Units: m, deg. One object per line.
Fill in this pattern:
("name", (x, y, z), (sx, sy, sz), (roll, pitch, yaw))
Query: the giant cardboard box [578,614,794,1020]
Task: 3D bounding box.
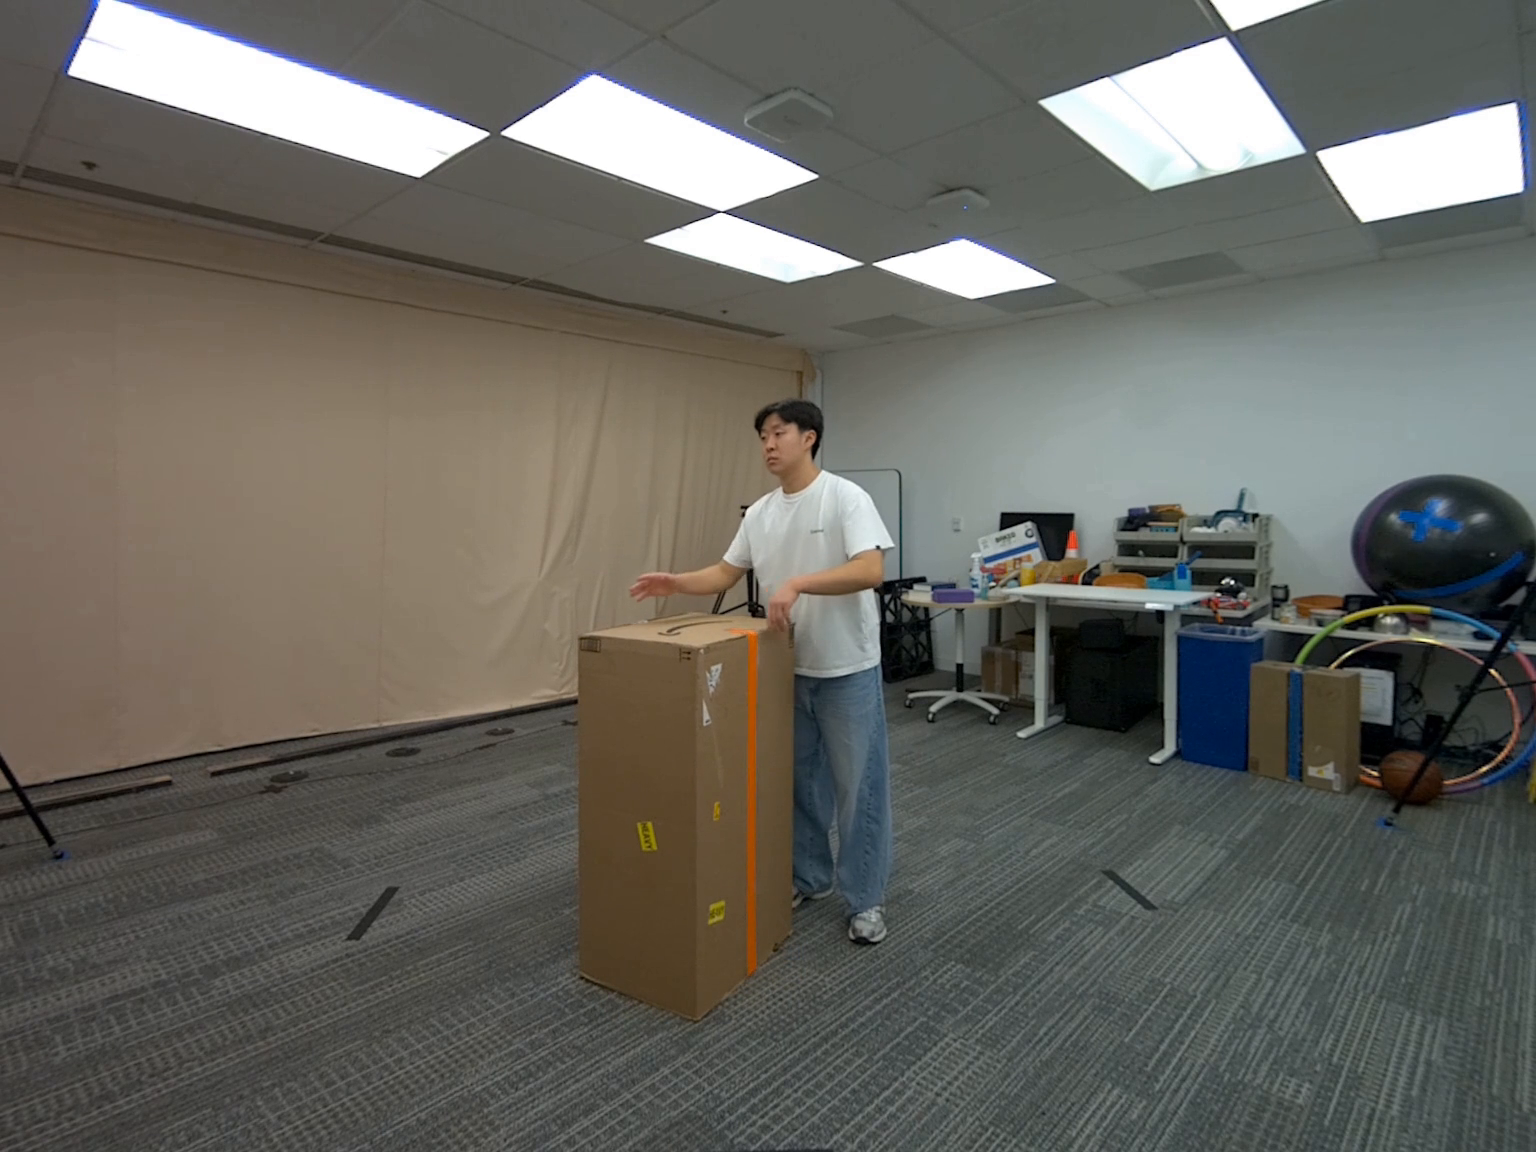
("giant cardboard box", (-0.241, 0.668, 2.588), (0.439, 1.024, 0.562), (2, 3, 30))
